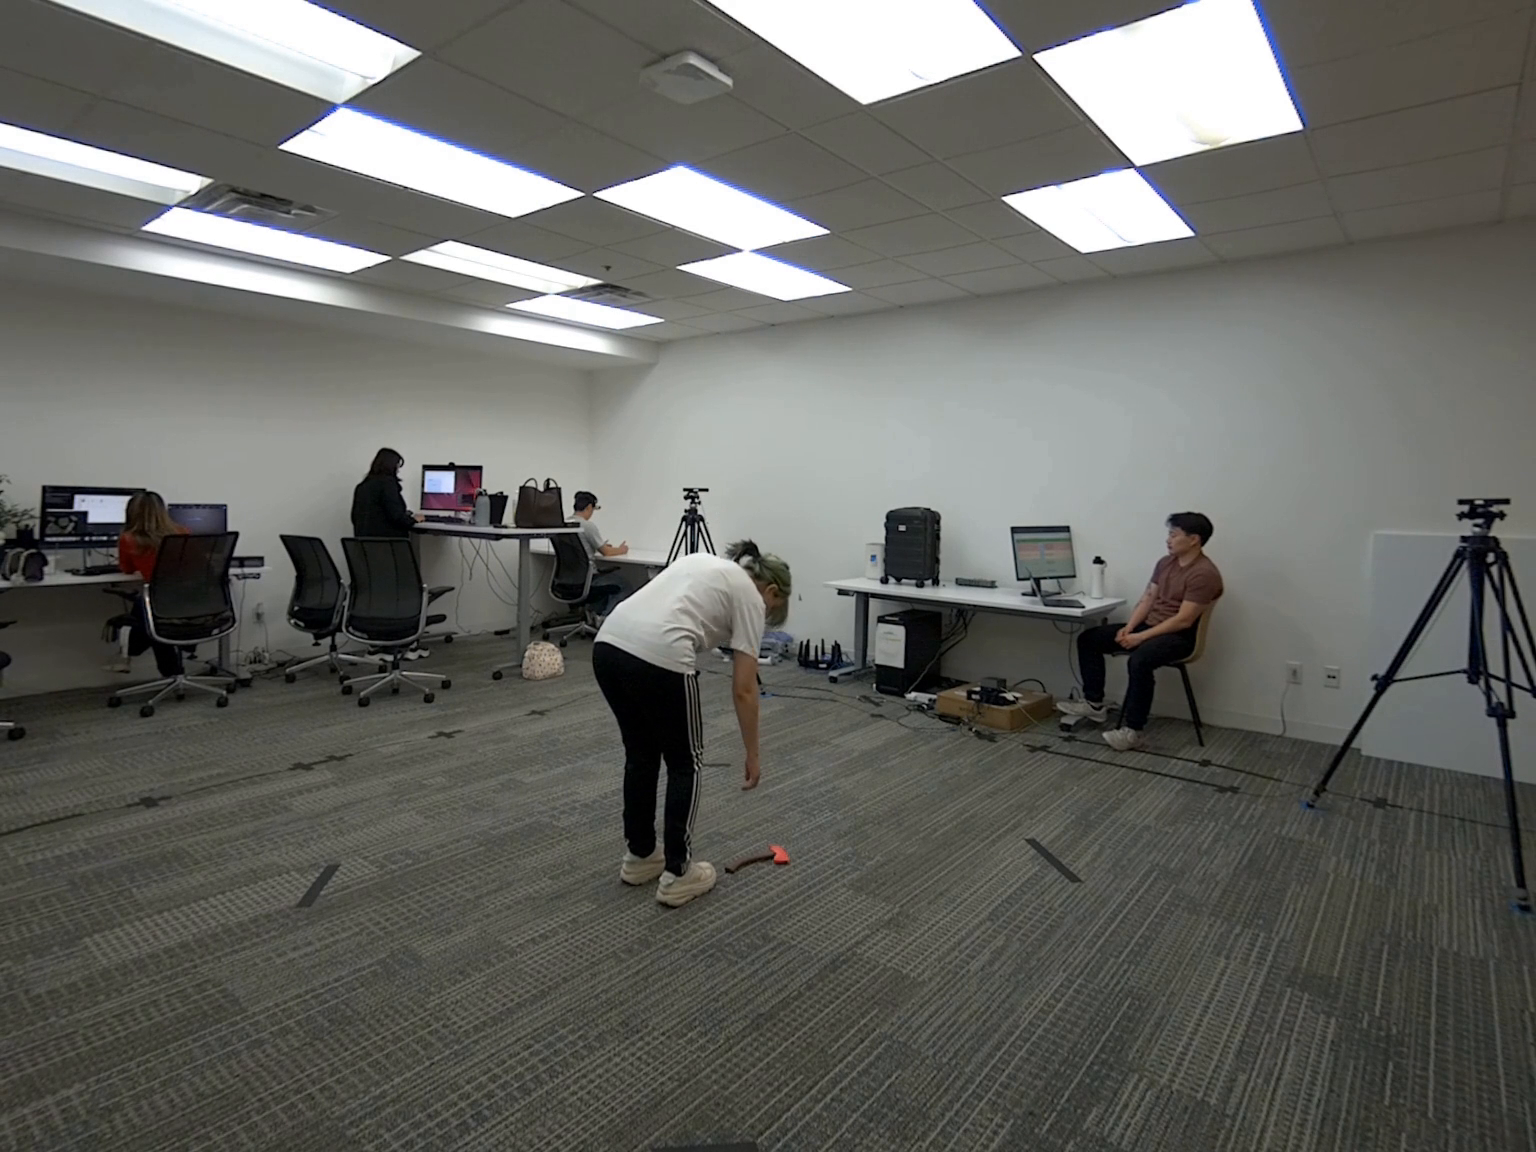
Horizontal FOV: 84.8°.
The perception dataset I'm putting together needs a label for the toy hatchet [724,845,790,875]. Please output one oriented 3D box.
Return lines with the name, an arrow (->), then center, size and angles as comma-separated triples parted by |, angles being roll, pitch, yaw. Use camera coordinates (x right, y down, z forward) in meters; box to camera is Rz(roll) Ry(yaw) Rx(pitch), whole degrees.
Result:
toy hatchet -> -0.034, 1.058, 3.150 | 0.136, 0.029, 0.262 | 9, 11, 42
